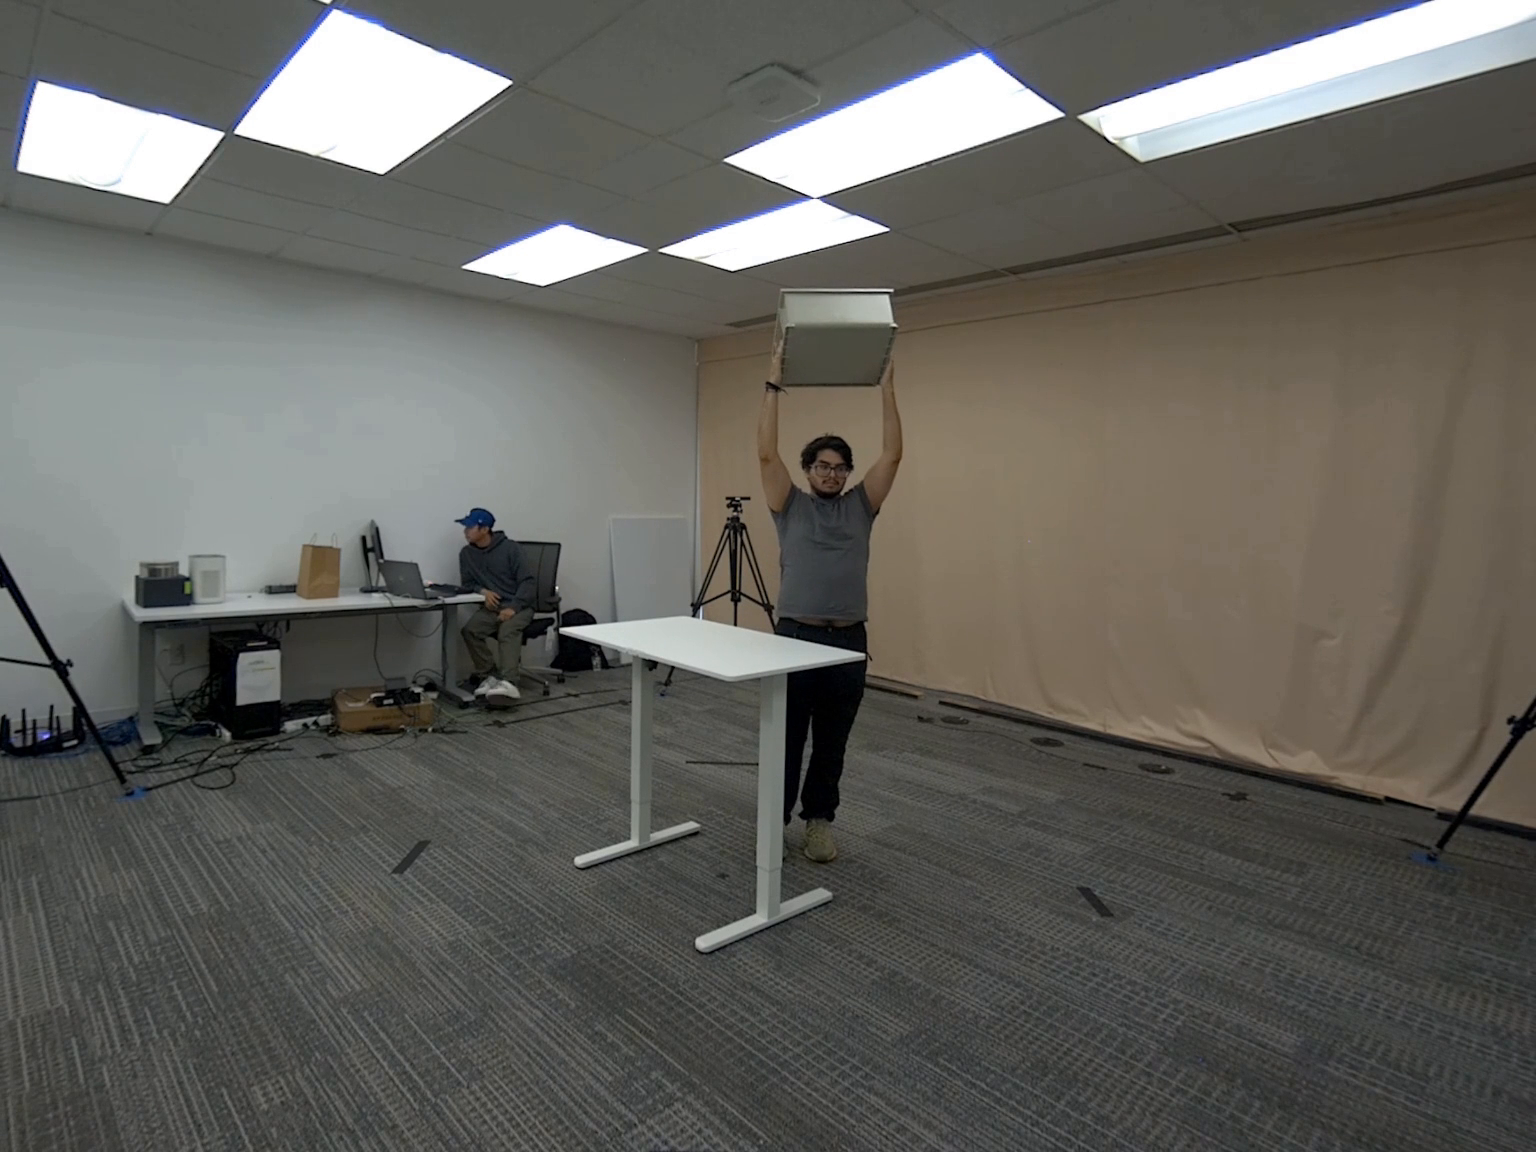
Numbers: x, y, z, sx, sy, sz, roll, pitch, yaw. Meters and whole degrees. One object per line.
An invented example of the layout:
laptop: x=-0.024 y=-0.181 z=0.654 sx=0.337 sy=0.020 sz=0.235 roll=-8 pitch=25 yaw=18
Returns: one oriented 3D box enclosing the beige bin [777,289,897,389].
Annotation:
beige bin: x=0.236 y=-0.887 z=3.212 sx=0.421 sy=0.193 sz=0.371 roll=-1 pitch=-29 yaw=-5
